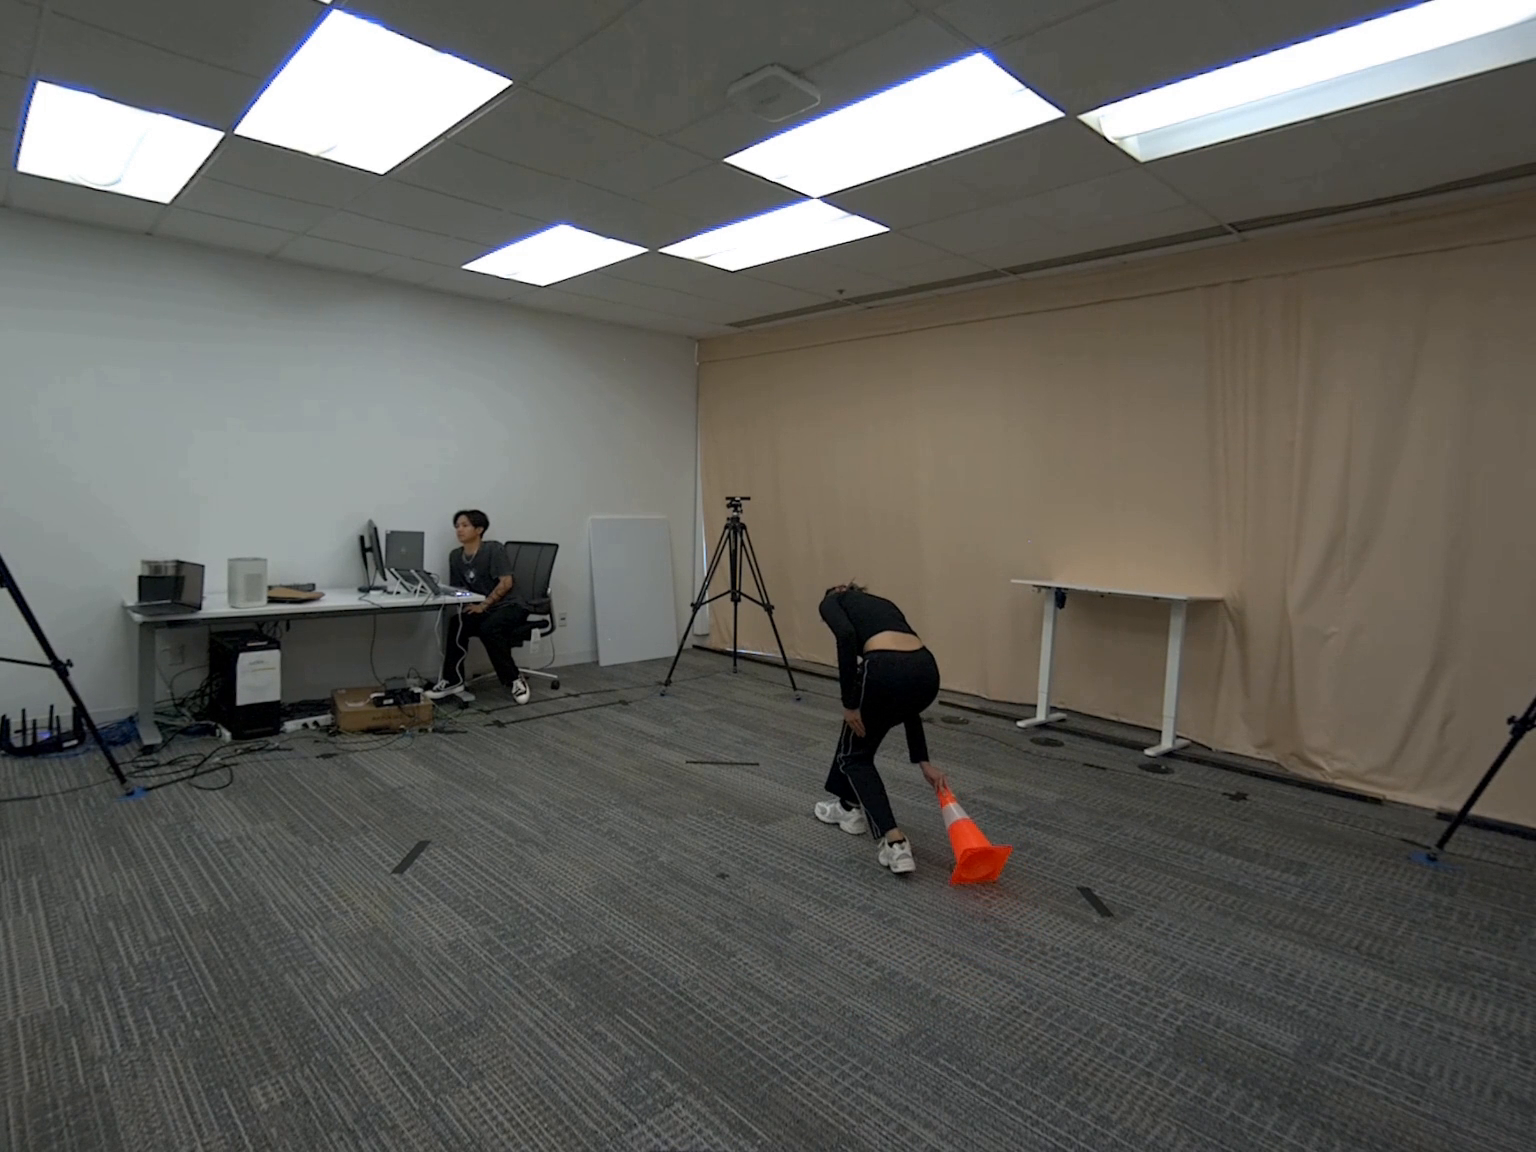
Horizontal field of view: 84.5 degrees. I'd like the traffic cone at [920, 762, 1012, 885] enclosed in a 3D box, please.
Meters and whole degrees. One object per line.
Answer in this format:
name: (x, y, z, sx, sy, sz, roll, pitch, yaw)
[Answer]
traffic cone: (0.721, 0.942, 3.211, 0.202, 0.200, 0.394, 5, 32, -16)
